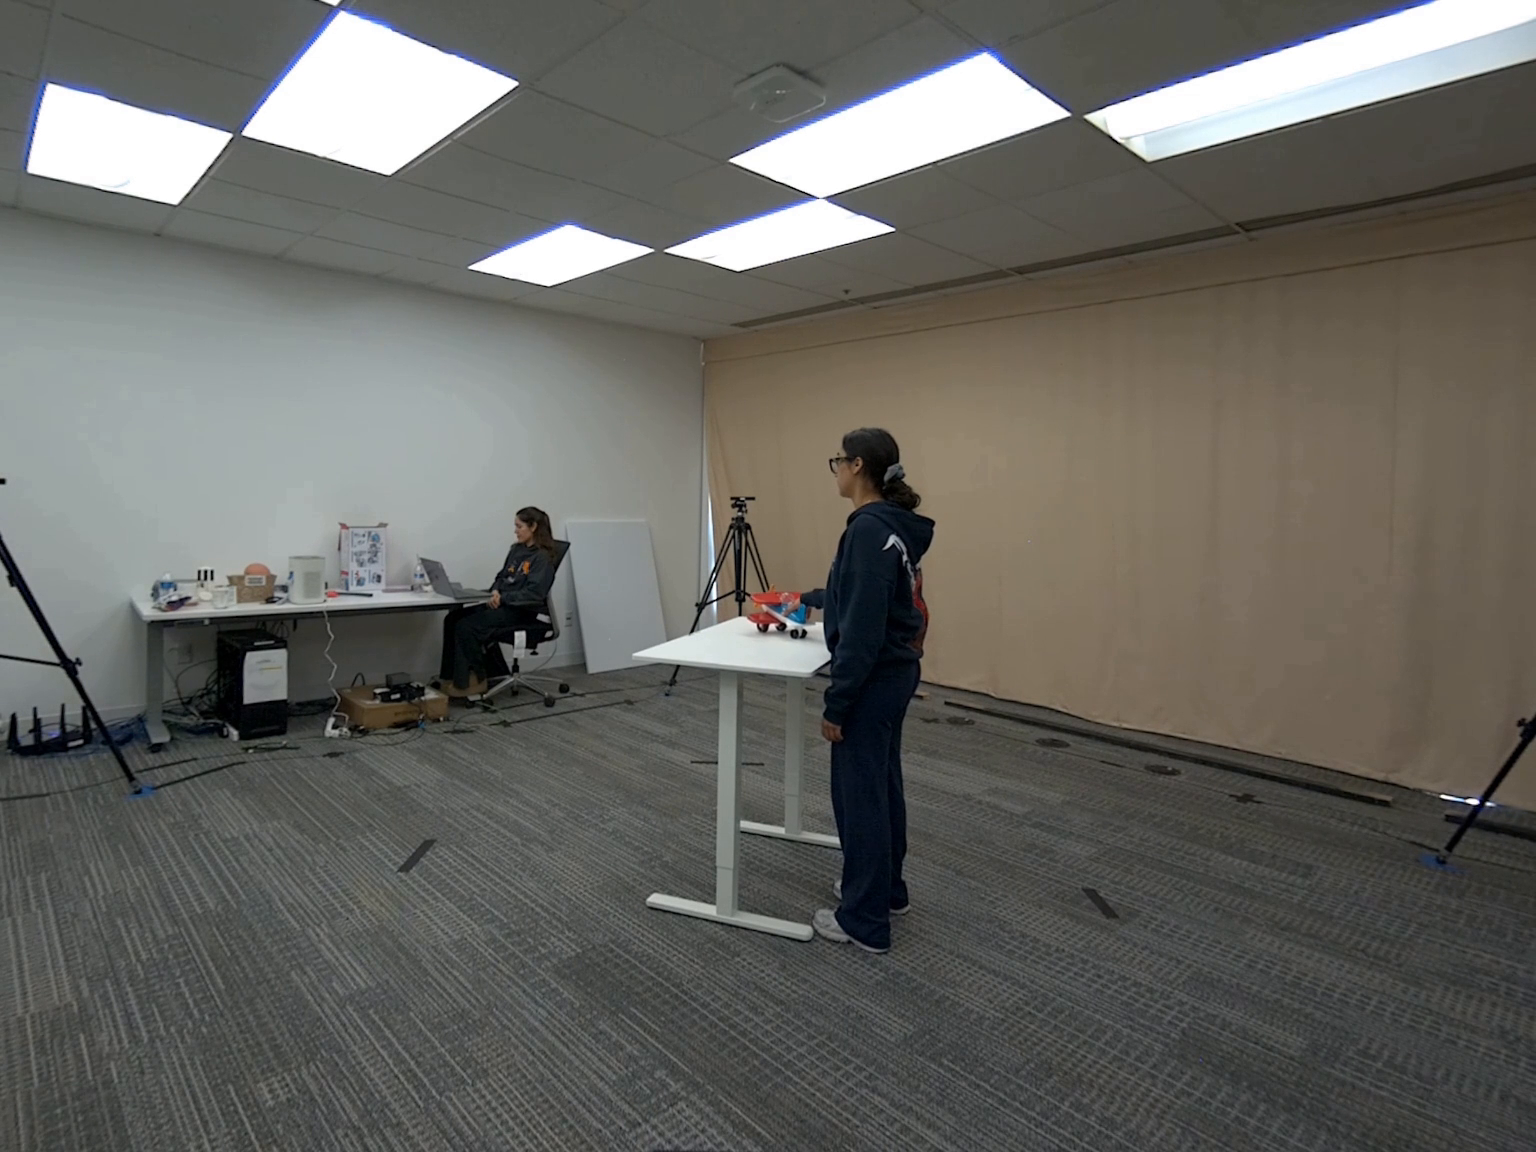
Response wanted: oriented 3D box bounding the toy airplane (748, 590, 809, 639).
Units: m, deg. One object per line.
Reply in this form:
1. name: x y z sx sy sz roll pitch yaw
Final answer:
1. toy airplane: 0.070 0.146 3.205 0.265 0.156 0.246 3 5 30
